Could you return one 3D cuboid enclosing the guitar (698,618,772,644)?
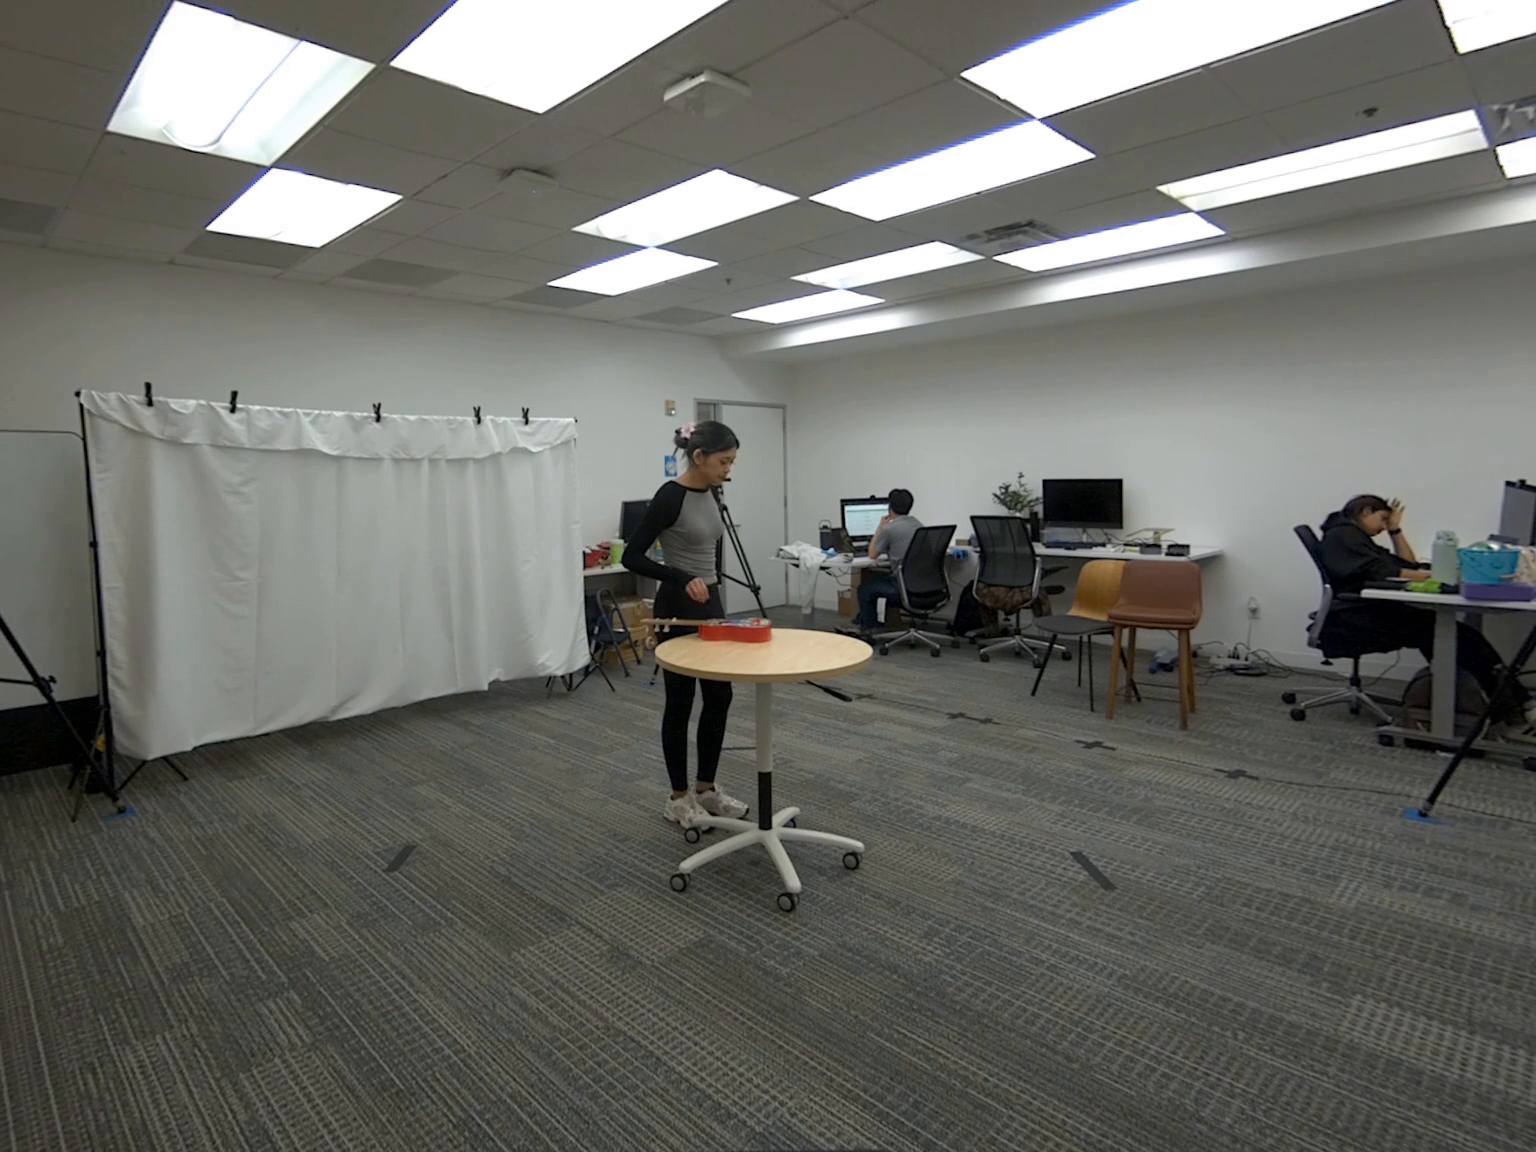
[{"bbox_3d":[-0.222,0.198,3.257,0.505,0.070,0.191,1,6,15],"label":"guitar"}]
